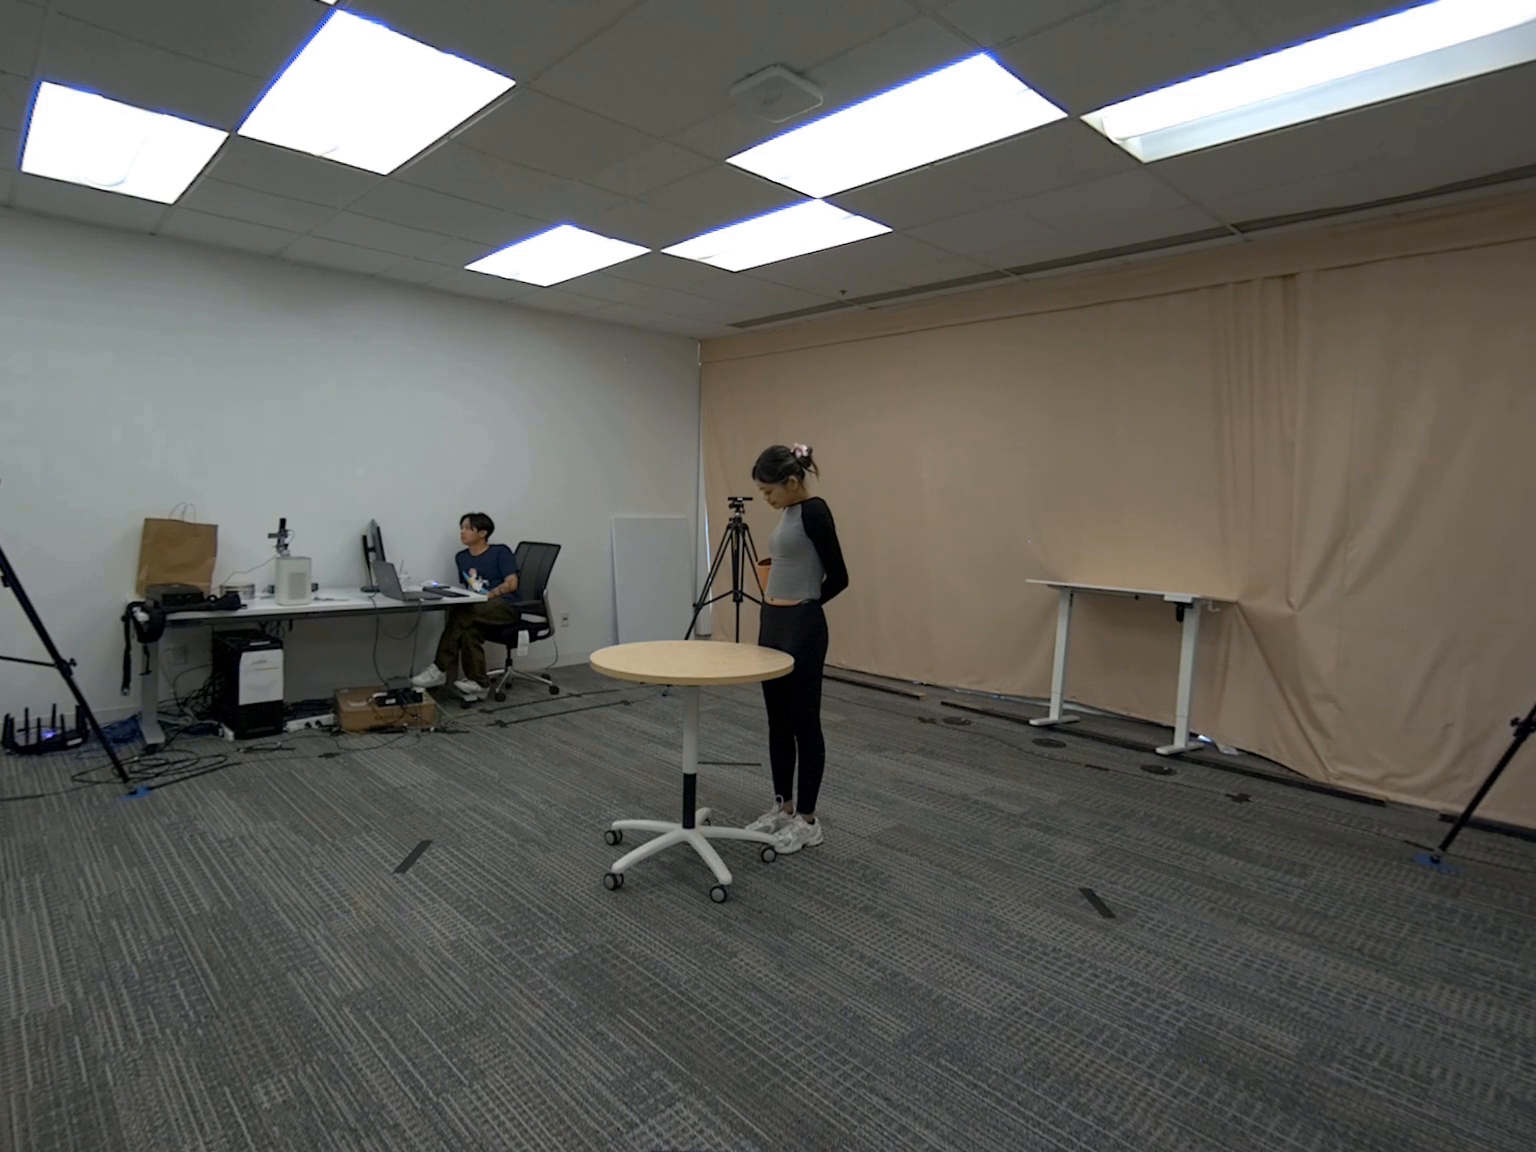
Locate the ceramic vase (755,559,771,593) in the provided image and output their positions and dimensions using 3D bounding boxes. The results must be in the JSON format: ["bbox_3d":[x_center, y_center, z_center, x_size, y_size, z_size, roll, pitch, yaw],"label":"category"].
[{"bbox_3d":[0.037,0.041,3.630,0.138,0.217,0.157,3,20,42],"label":"ceramic vase"}]
